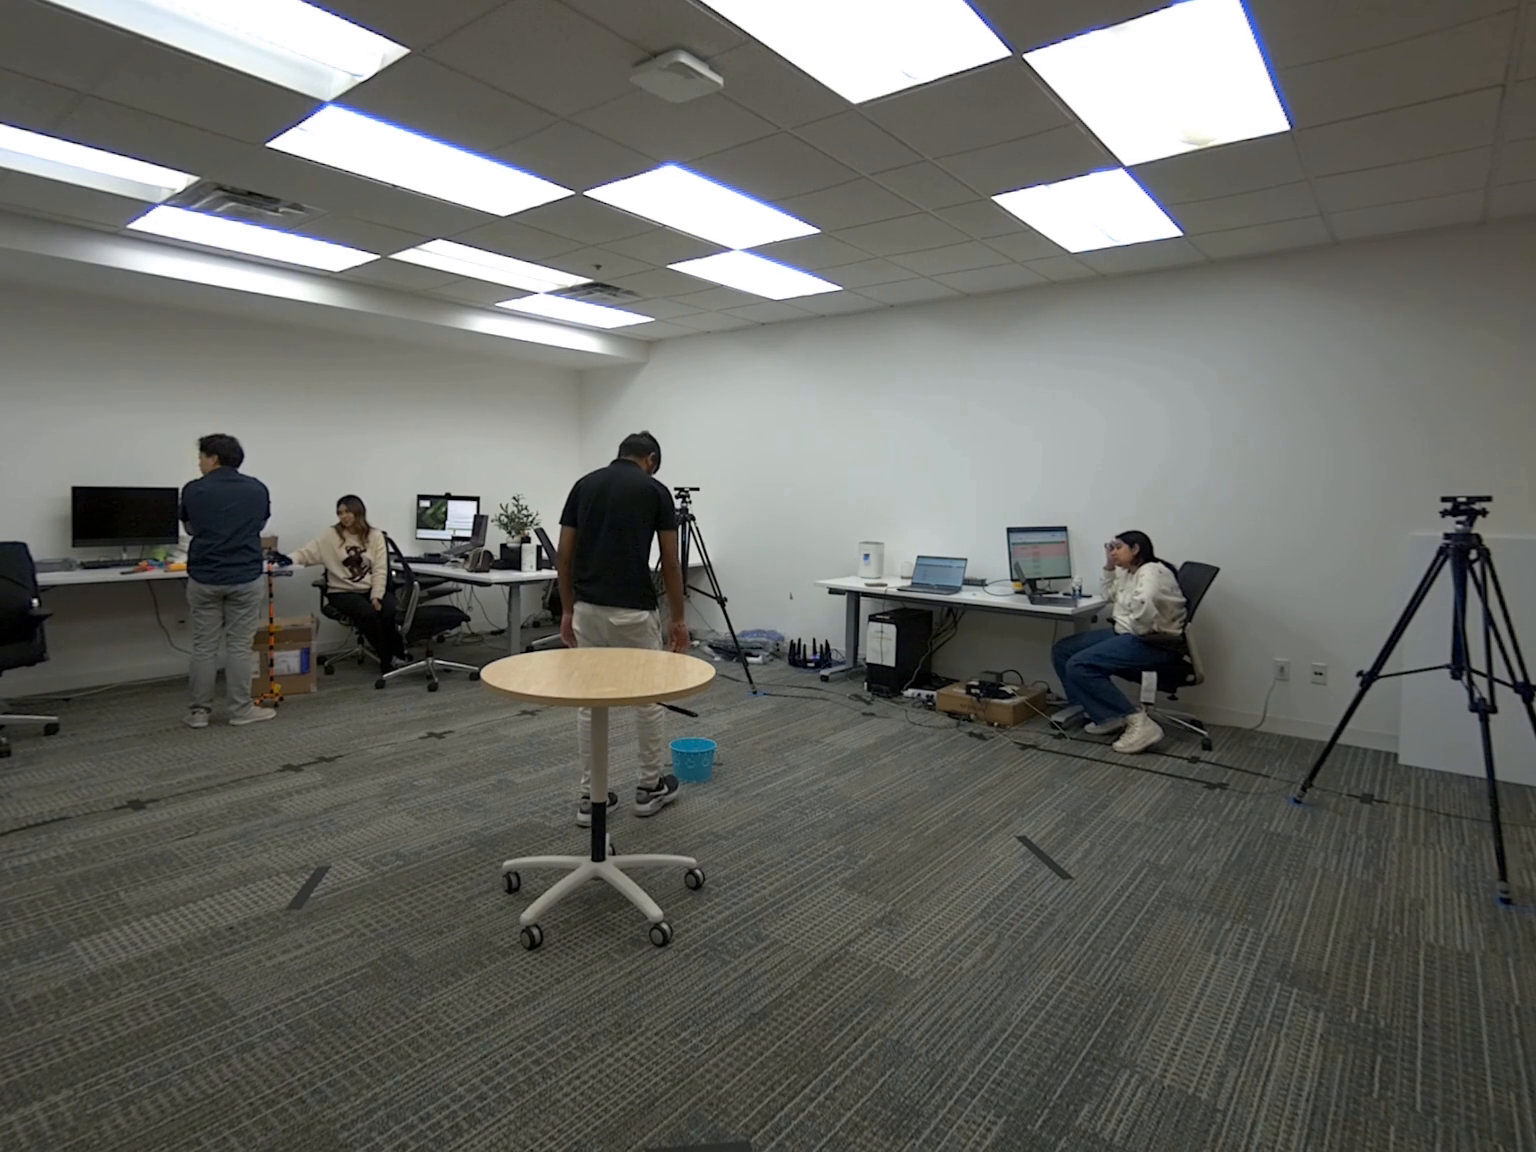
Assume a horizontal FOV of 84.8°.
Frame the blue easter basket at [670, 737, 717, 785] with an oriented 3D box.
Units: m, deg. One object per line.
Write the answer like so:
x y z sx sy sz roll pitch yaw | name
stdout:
-0.372 0.887 4.127 0.243 0.155 0.245 0 5 -2 | blue easter basket
